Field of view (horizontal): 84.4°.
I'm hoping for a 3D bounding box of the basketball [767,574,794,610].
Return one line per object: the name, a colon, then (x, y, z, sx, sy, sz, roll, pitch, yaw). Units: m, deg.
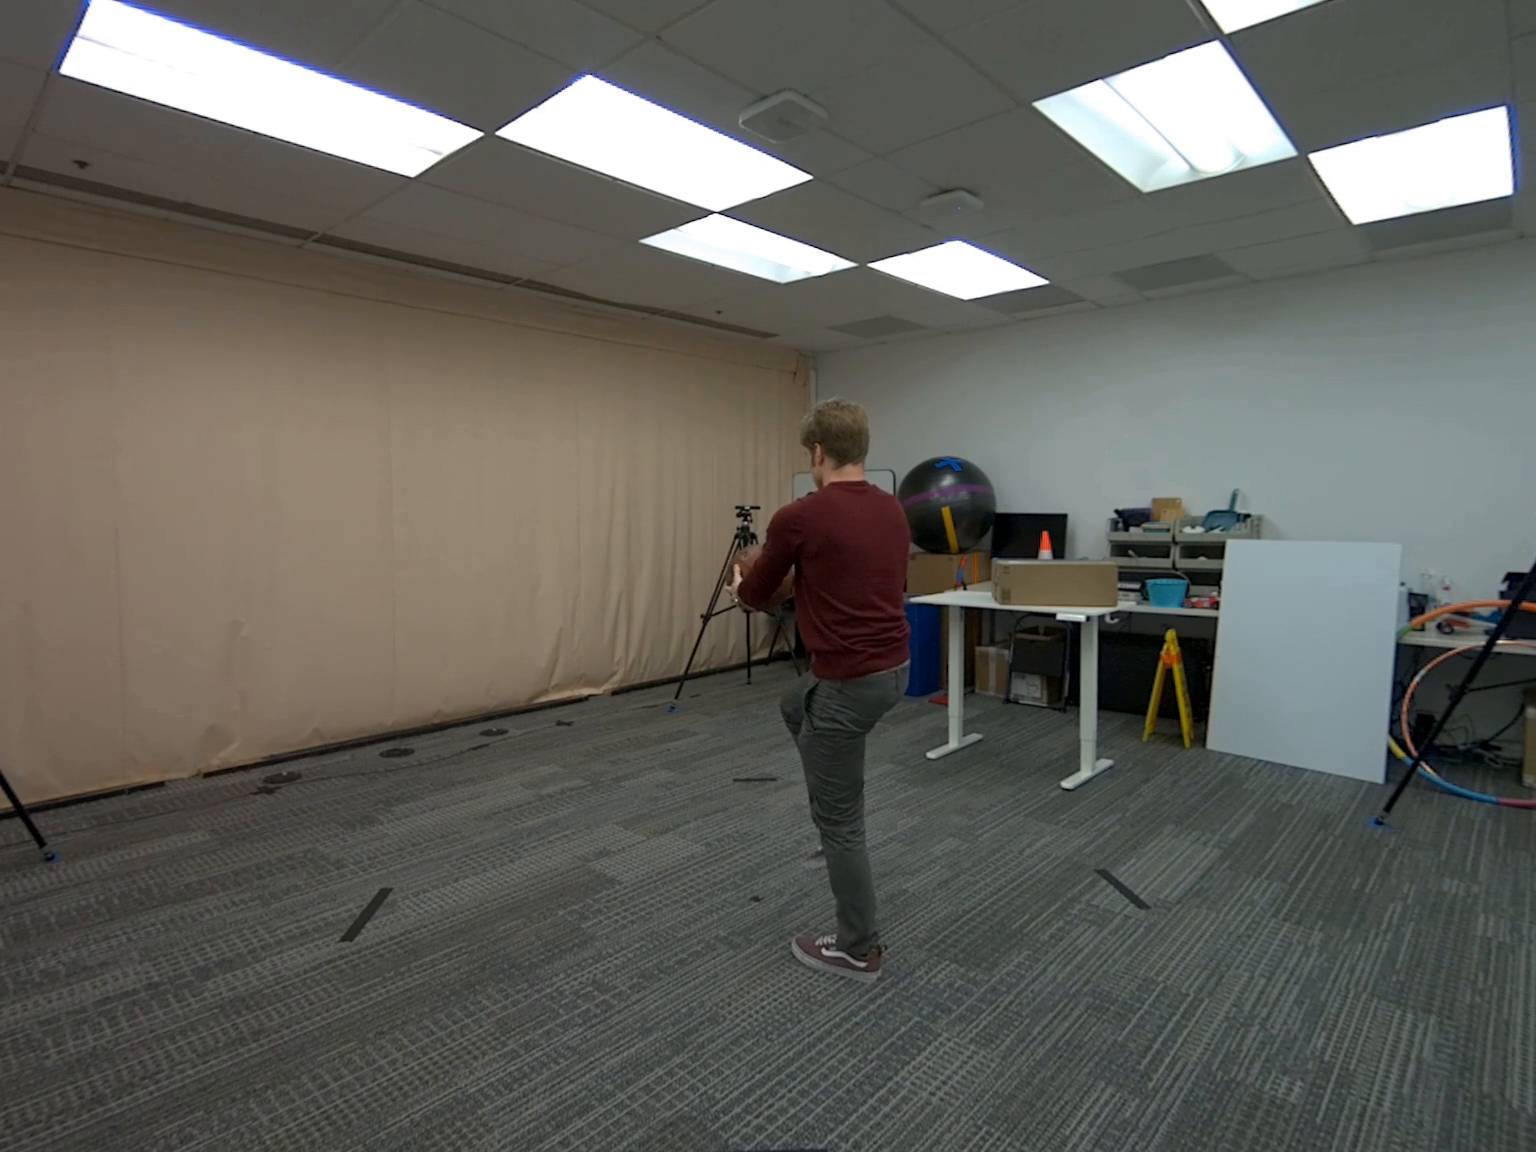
basketball: (-0.030, 0.009, 2.979, 0.236, 0.235, 0.237, 0, 4, -2)
